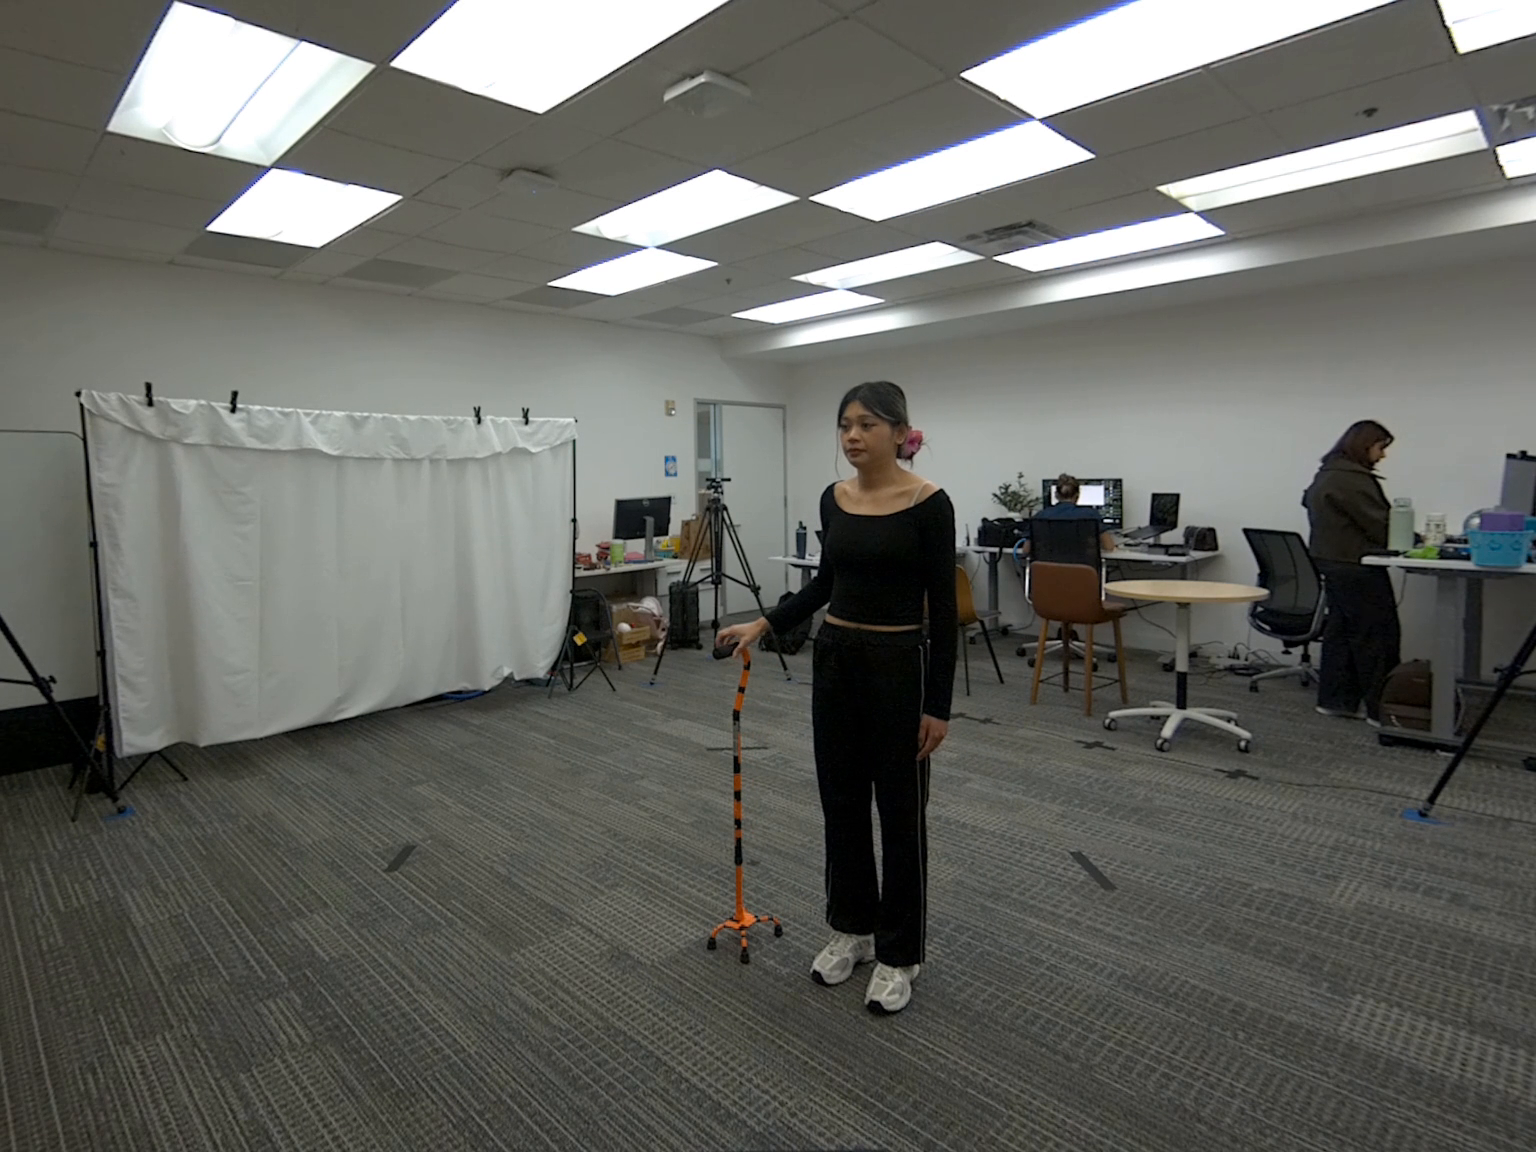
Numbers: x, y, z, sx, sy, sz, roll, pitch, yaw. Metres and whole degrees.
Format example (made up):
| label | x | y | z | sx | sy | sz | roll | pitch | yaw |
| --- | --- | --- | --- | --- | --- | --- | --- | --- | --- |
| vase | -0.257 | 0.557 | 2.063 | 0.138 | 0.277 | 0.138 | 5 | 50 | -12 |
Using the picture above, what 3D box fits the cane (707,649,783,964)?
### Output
| label | x | y | z | sx | sy | sz | roll | pitch | yaw |
| --- | --- | --- | --- | --- | --- | --- | --- | --- | --- |
| cane | -0.073 | 0.651 | 2.552 | 0.156 | 0.905 | 0.201 | 1 | 4 | 35 |
